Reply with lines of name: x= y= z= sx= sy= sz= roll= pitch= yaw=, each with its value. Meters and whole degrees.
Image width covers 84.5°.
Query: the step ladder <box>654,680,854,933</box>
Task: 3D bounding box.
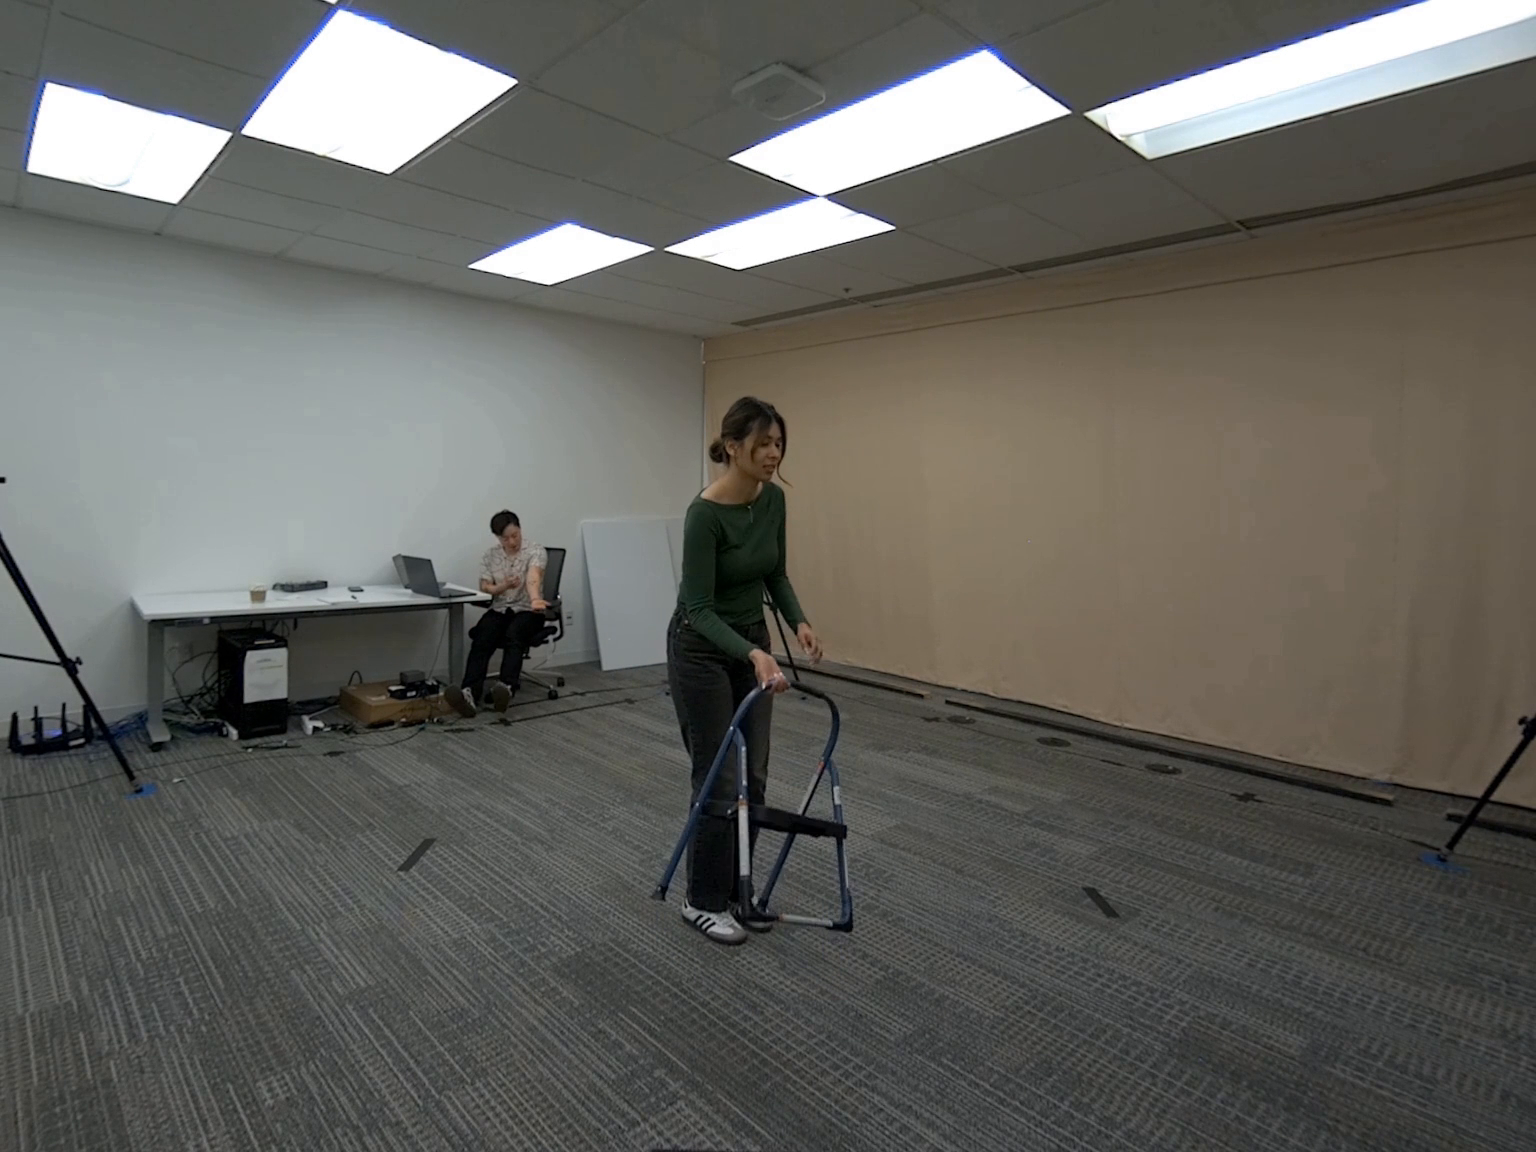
step ladder: x=0.003 y=0.604 z=2.275 sx=0.356 sy=0.612 sz=0.417 roll=-8 pitch=-25 yaw=42
